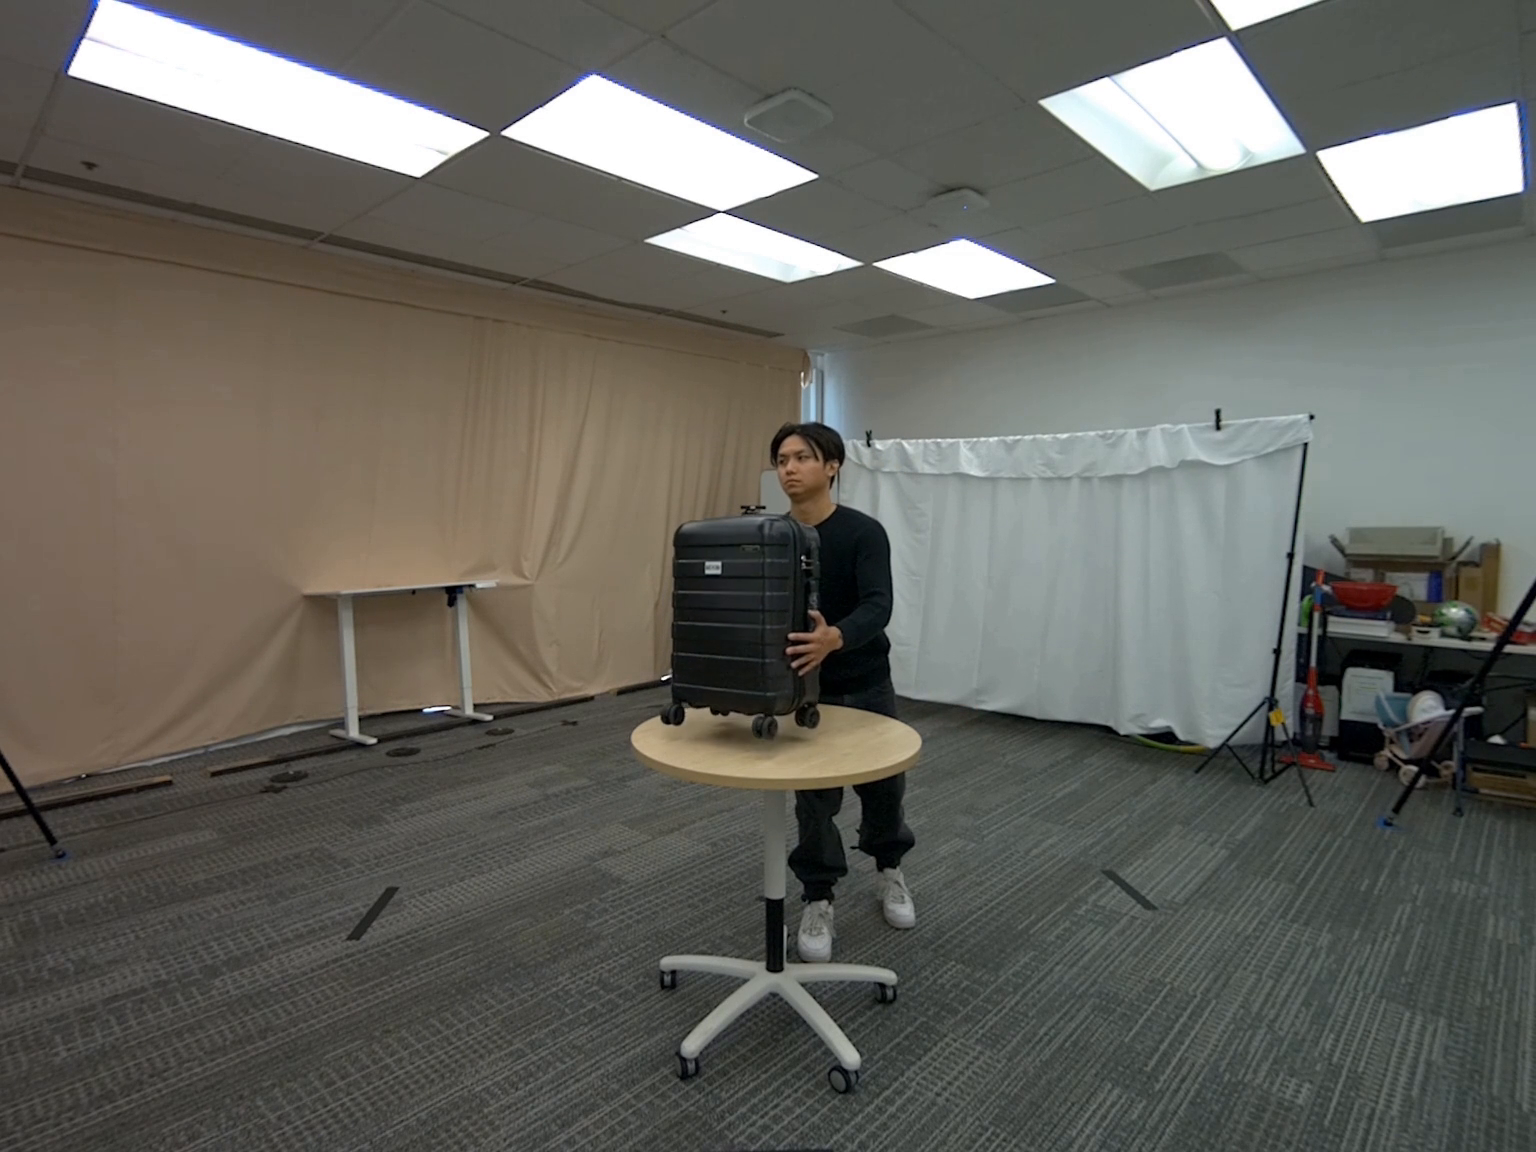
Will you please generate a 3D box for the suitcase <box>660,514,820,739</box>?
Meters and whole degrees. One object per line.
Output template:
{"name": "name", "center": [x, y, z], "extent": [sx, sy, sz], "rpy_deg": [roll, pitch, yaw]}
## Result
{"name": "suitcase", "center": [-0.054, 0.111, 2.204], "extent": [0.387, 0.550, 0.240], "rpy_deg": [0, -3, 37]}
